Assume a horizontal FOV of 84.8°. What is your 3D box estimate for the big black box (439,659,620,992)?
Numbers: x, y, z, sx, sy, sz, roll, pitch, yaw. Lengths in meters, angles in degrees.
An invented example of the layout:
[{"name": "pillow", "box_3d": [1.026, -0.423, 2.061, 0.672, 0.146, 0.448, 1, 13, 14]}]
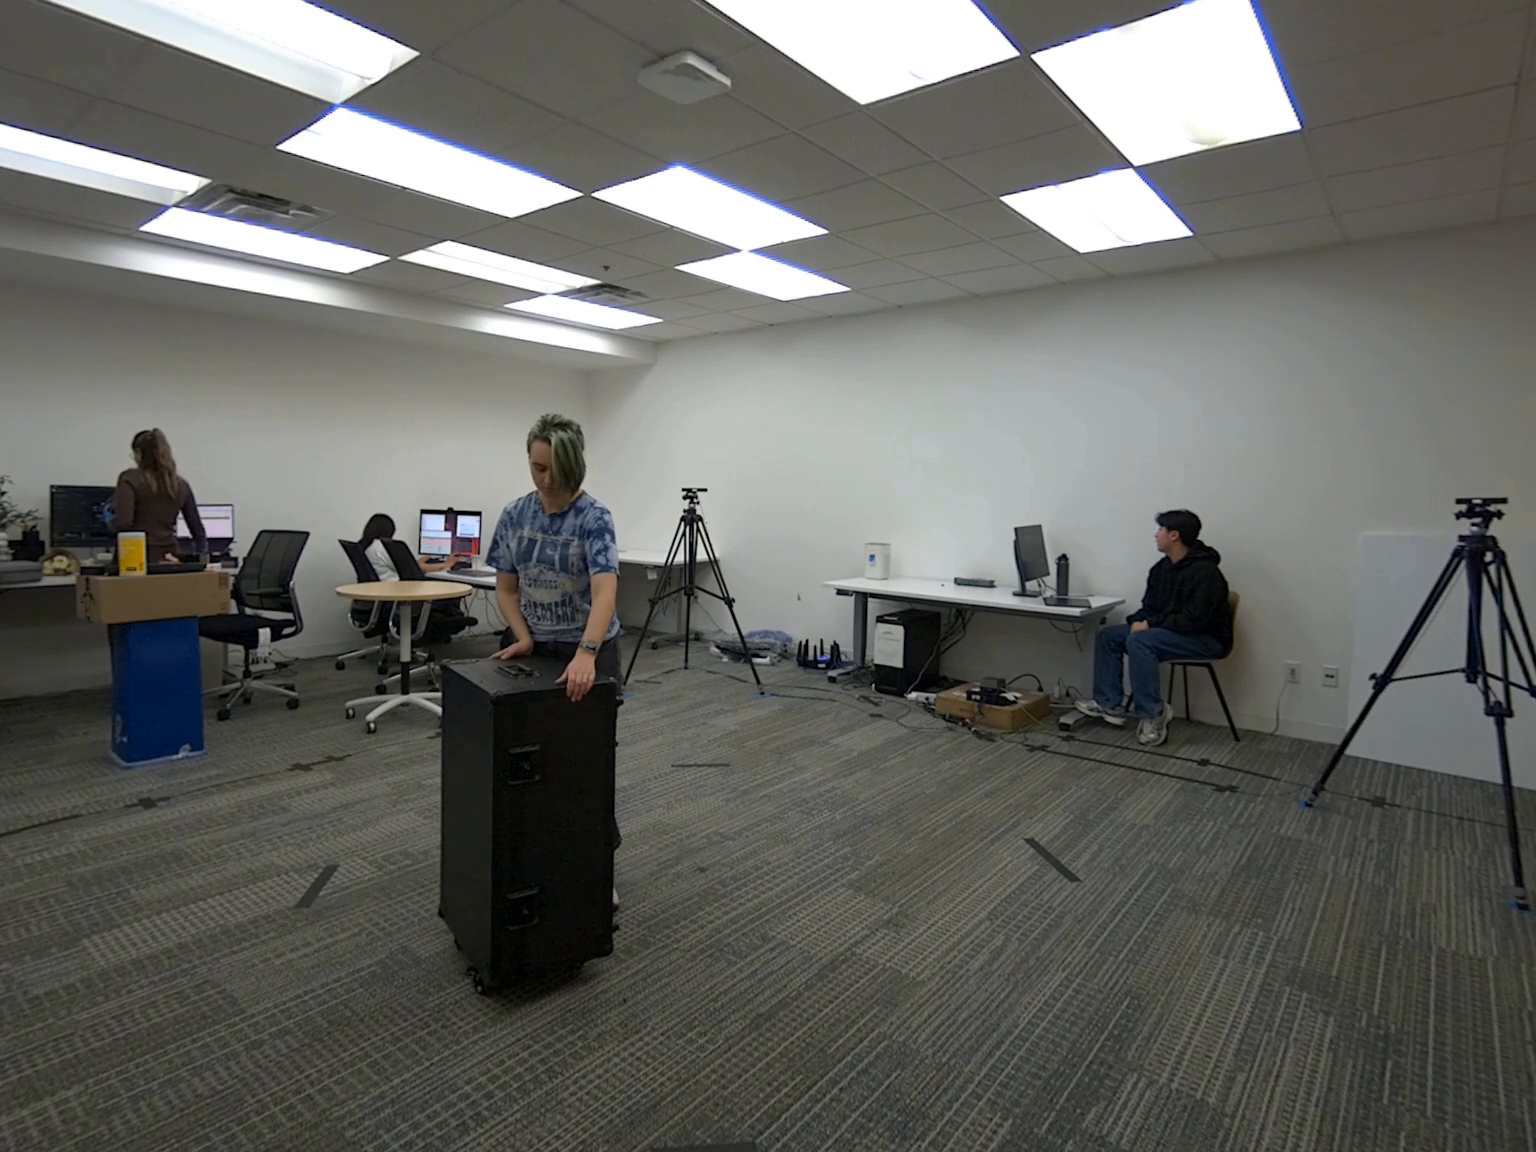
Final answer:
[{"name": "big black box", "box_3d": [-0.722, 0.699, 2.490, 0.384, 0.860, 0.538, 0, 3, -36]}]
